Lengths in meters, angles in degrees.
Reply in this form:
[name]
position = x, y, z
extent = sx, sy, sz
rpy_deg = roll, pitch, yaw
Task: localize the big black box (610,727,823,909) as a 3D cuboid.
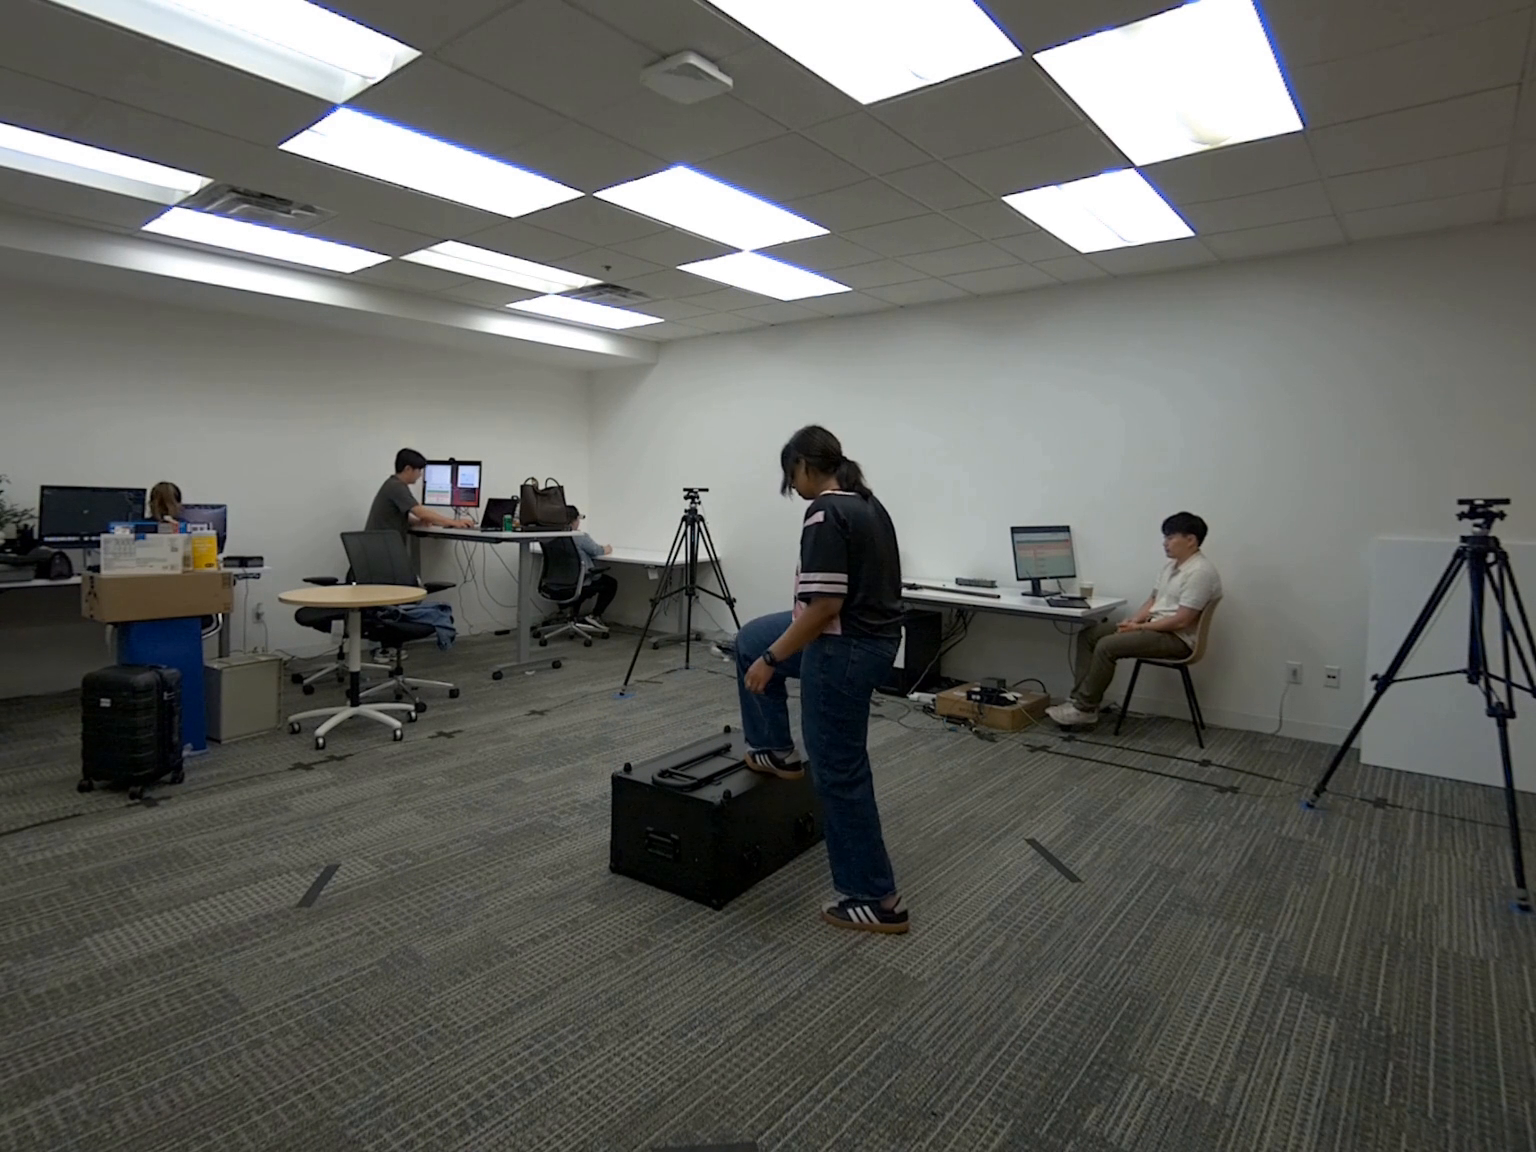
[big black box]
position = -0.157, 0.870, 3.278
extent = 0.539, 0.384, 0.845
rpy_deg = 2, 5, 33
